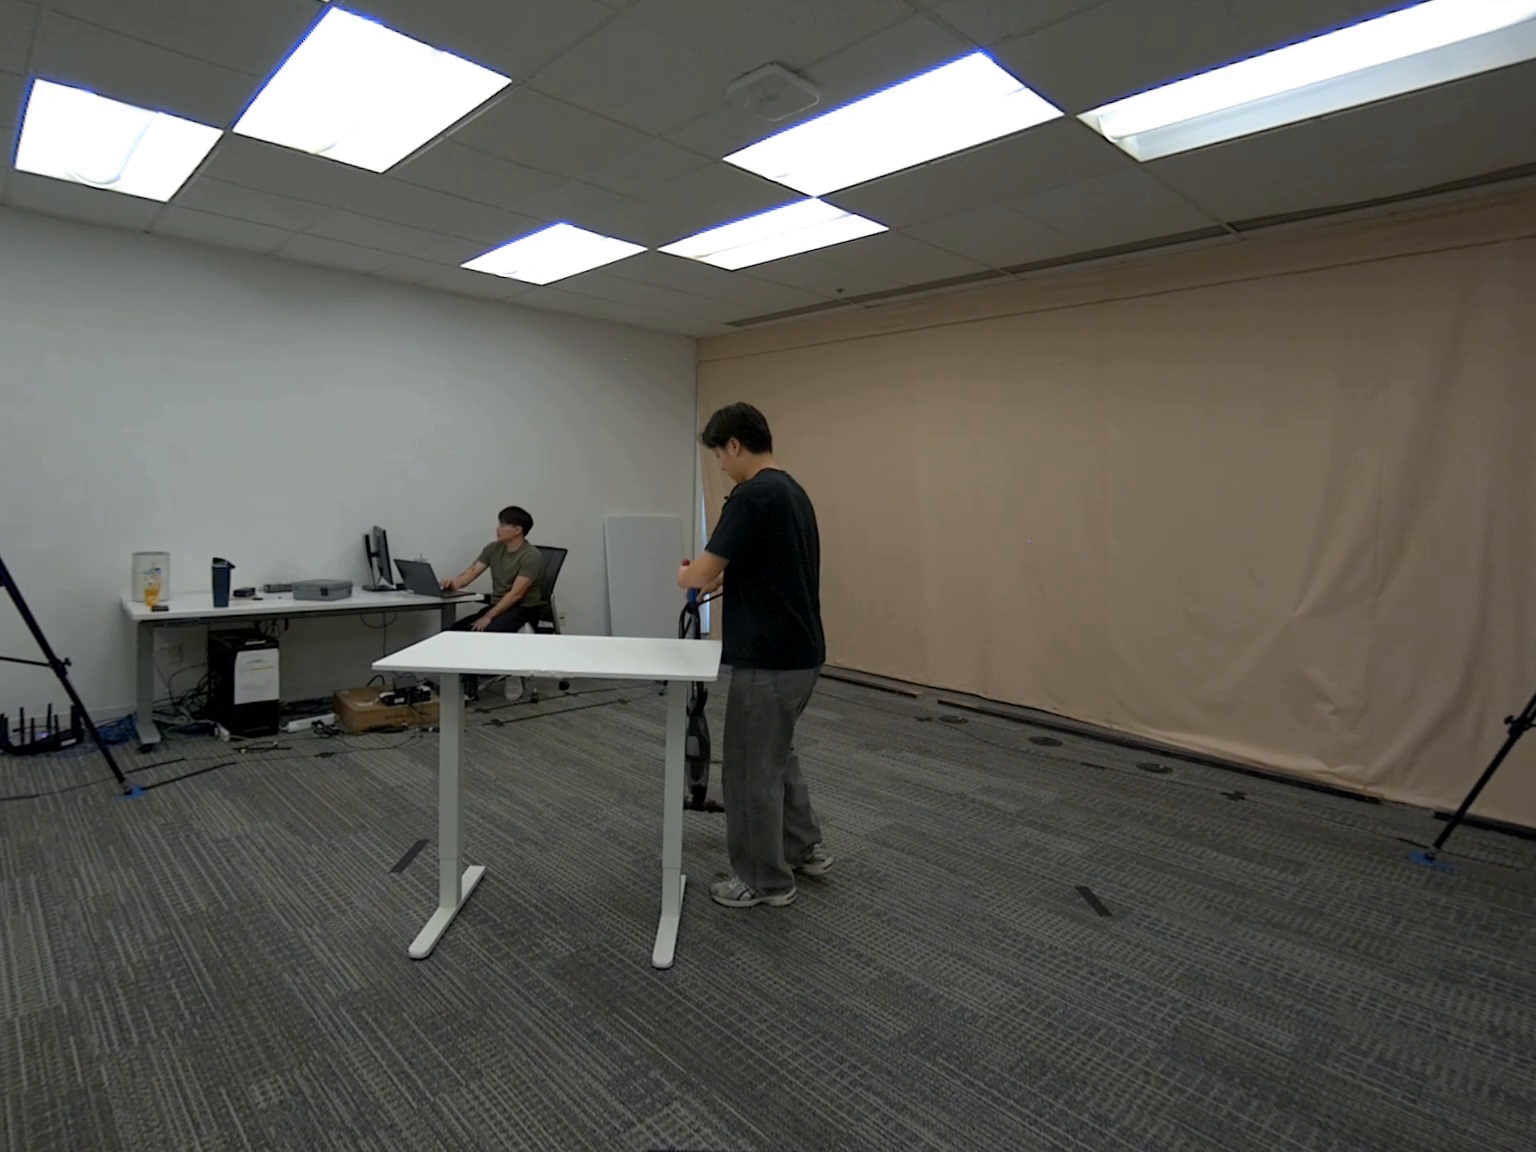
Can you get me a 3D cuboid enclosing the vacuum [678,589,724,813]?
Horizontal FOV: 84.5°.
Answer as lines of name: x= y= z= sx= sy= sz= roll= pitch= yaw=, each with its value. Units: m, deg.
vacuum: x=-0.288 y=0.449 z=3.226 sx=0.255 sy=1.035 sz=0.144 roll=2 pitch=18 yaw=14
